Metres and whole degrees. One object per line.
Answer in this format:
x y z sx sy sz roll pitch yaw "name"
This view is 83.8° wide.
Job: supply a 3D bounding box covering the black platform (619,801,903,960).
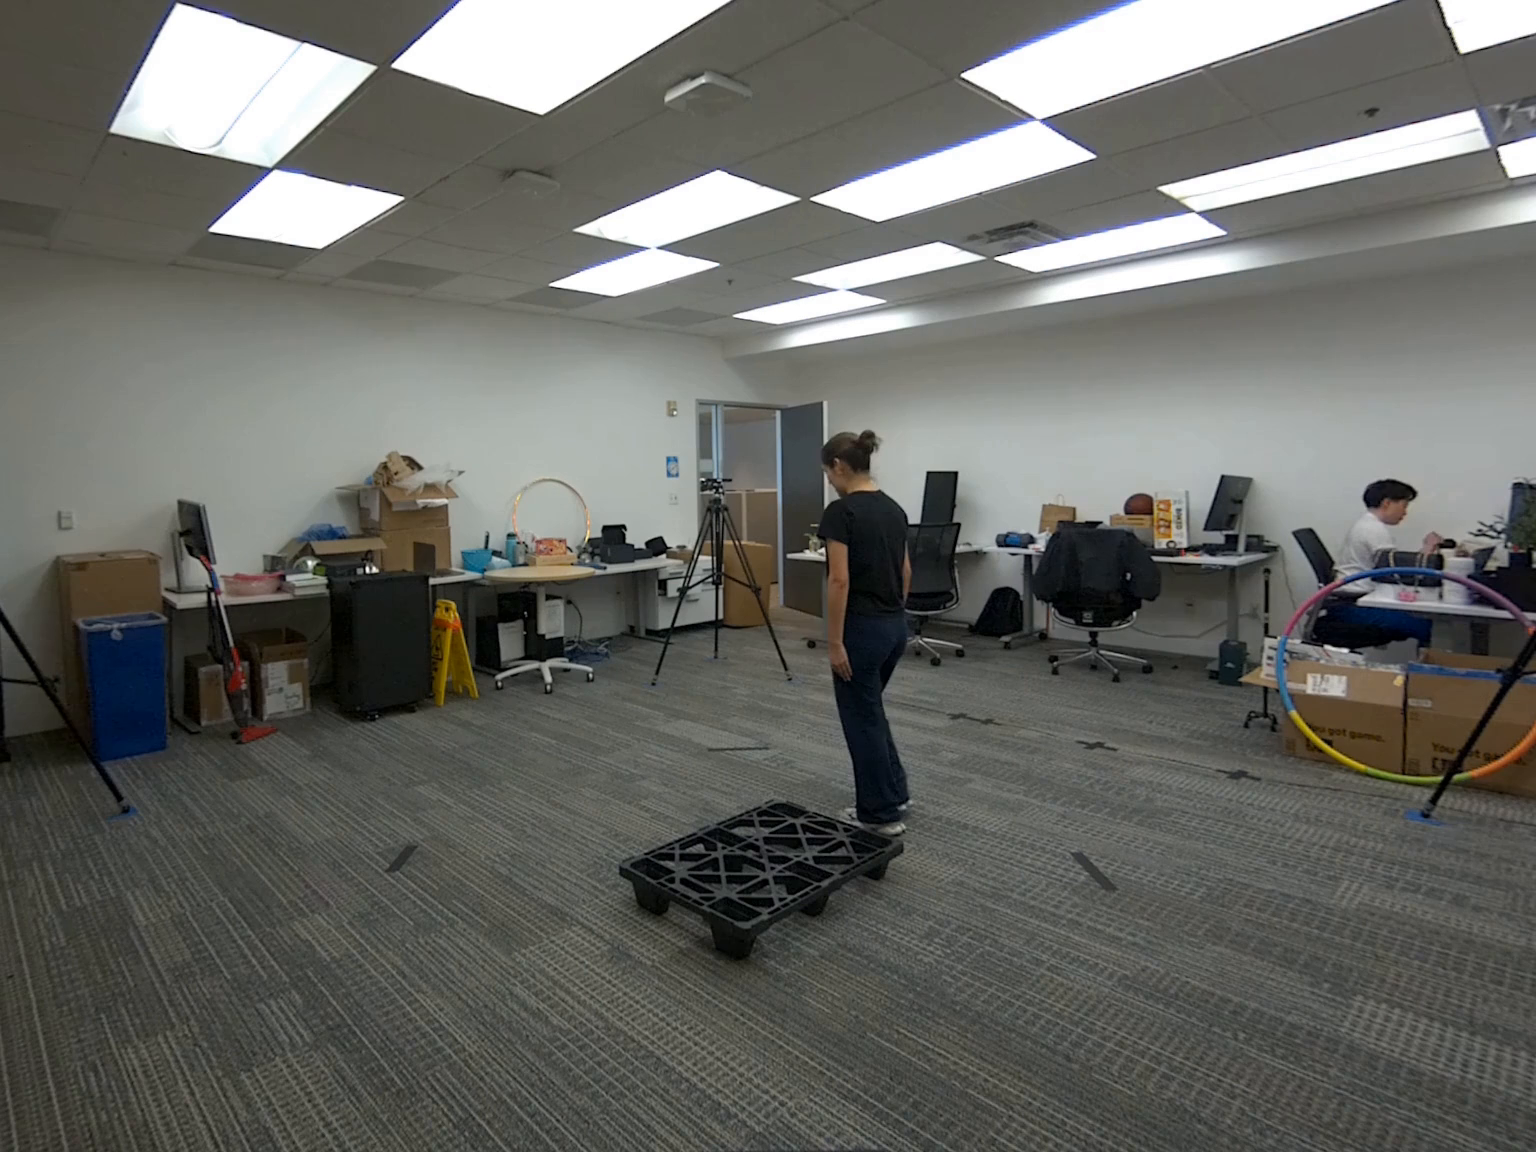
-0.006 1.004 2.903 0.624 0.142 0.785 6 10 43 "black platform"
